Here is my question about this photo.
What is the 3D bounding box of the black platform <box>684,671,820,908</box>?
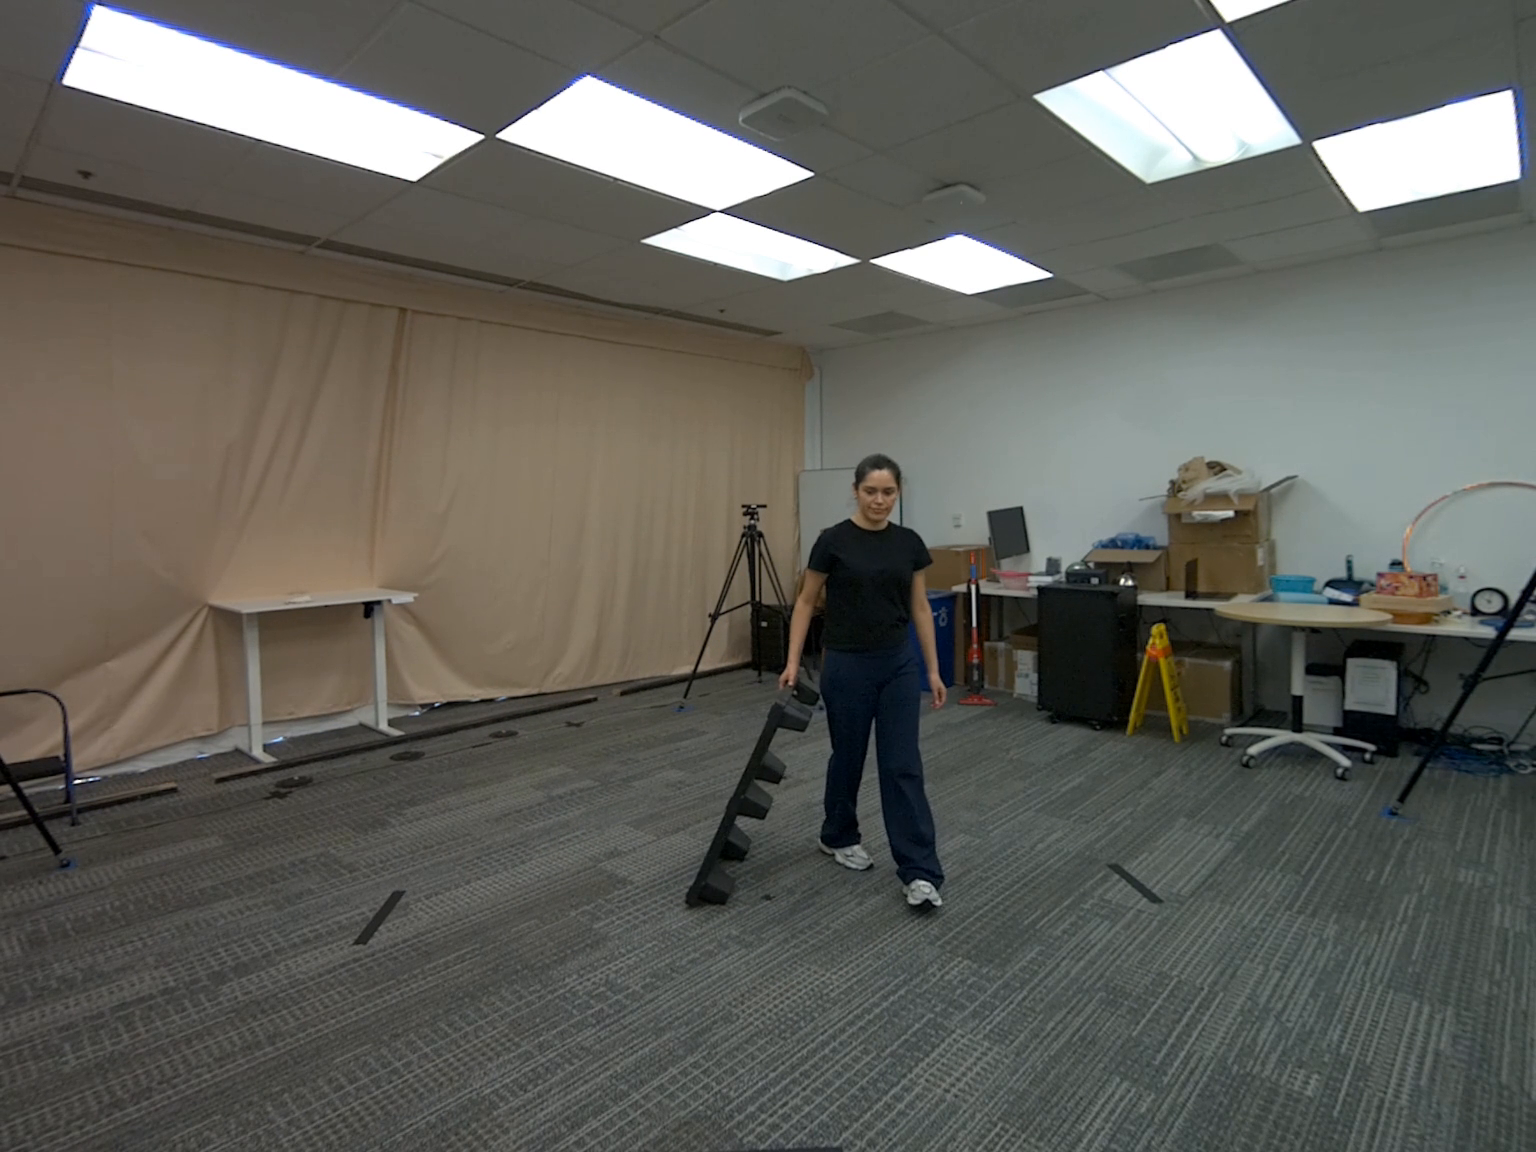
[{"bbox_3d":[-0.018,0.766,3.119,0.144,0.804,0.601,24,7,5],"label":"black platform"}]
